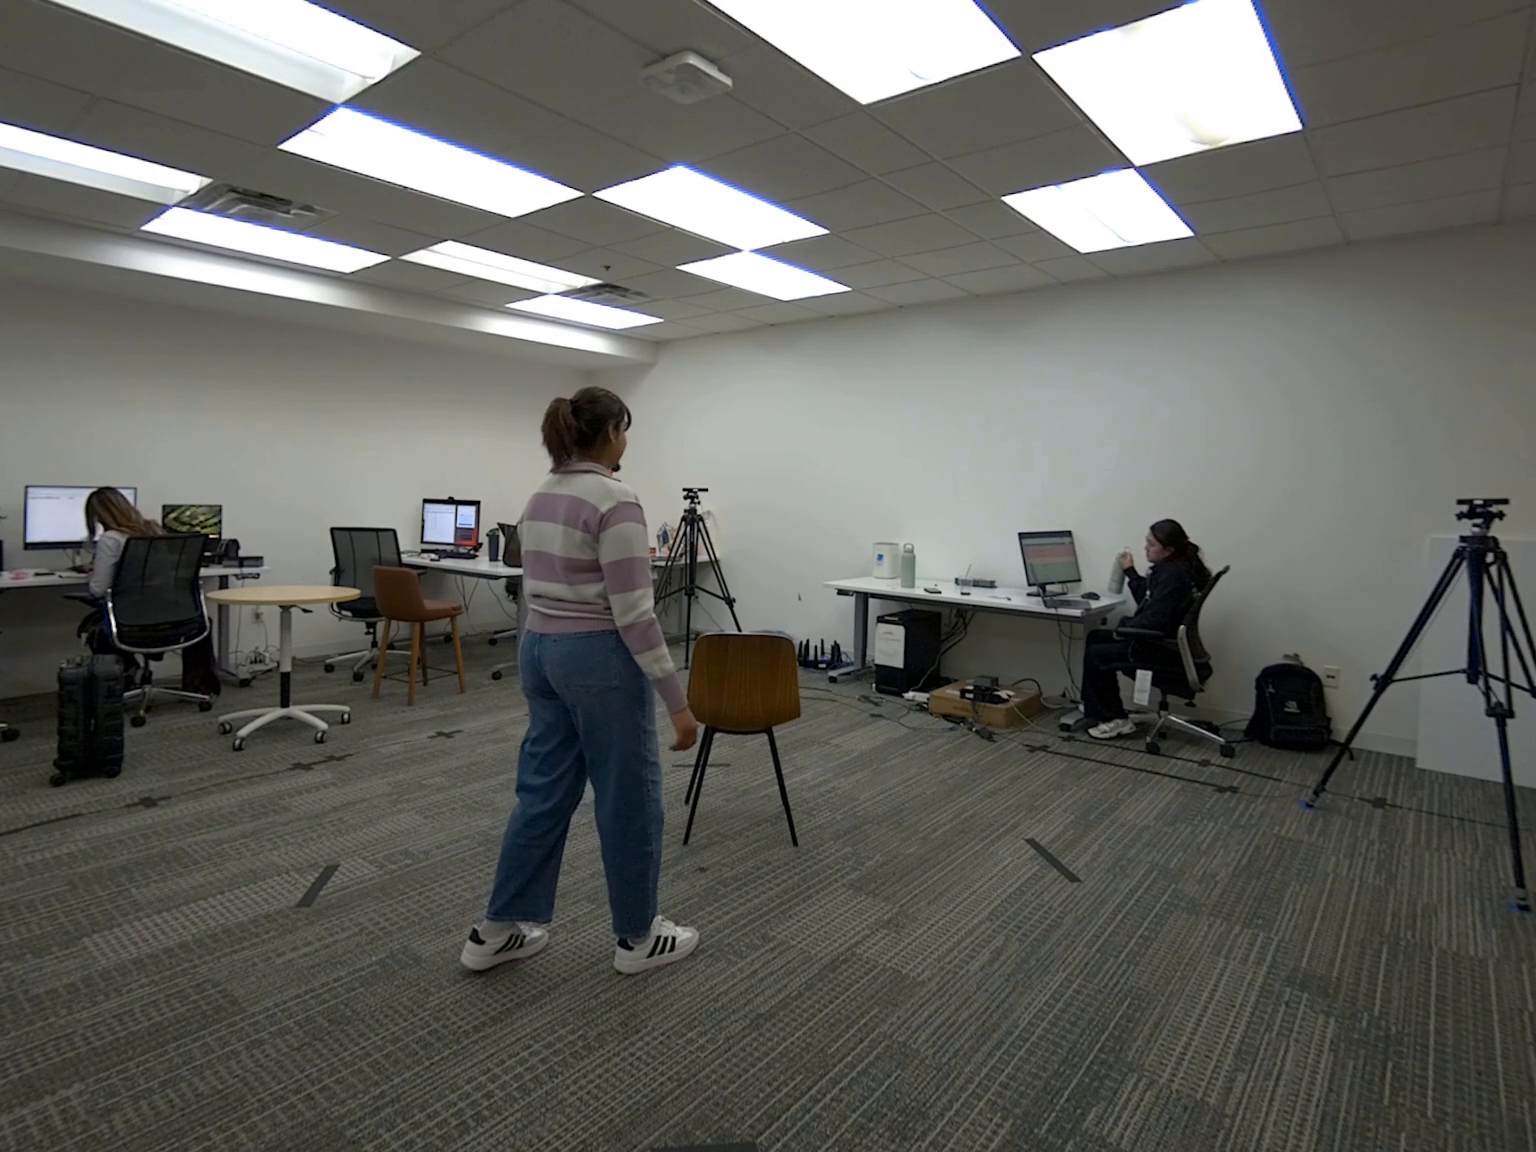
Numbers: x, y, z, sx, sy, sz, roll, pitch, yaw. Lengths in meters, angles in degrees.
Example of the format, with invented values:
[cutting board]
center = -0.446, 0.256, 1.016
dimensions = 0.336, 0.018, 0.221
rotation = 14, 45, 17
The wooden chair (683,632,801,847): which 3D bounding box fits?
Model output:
[wooden chair]
center = -0.132, 0.602, 3.524
dimensions = 0.477, 0.871, 0.528
rotation = 0, 7, -3
